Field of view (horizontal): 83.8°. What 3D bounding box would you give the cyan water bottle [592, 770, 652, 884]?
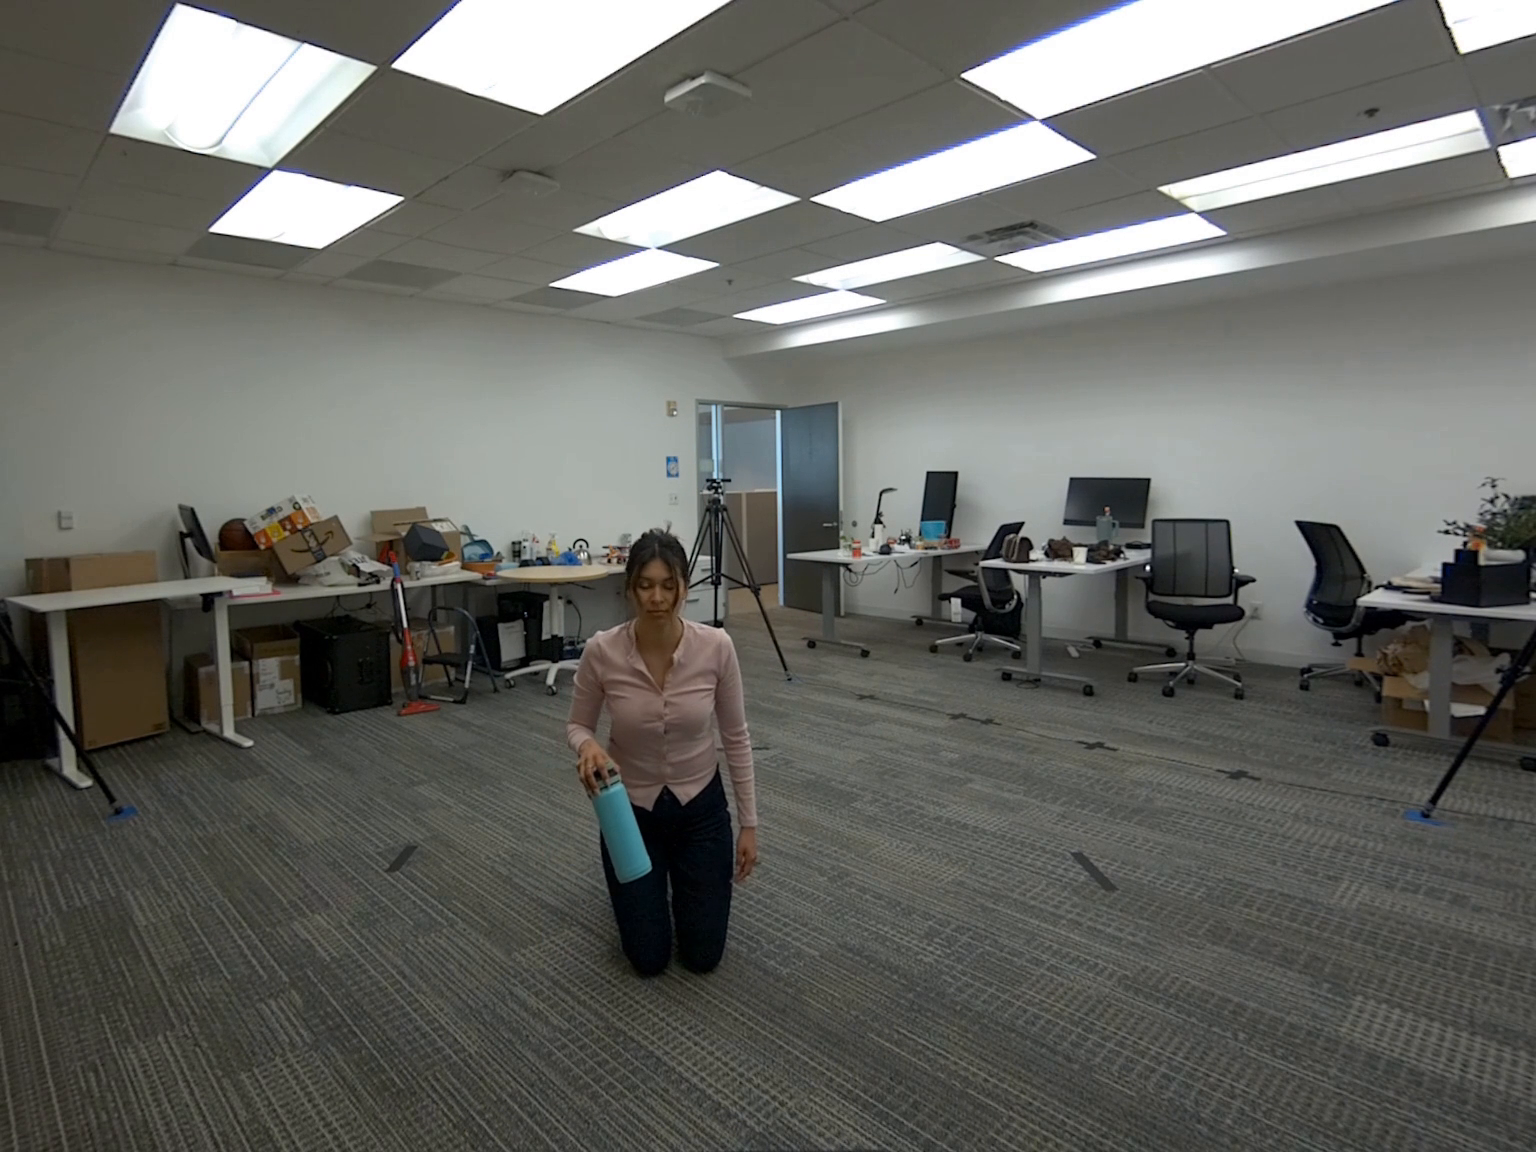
[{"bbox_3d":[-0.380,0.622,2.142,0.092,0.285,0.092,-19,-6,-3],"label":"cyan water bottle"}]
